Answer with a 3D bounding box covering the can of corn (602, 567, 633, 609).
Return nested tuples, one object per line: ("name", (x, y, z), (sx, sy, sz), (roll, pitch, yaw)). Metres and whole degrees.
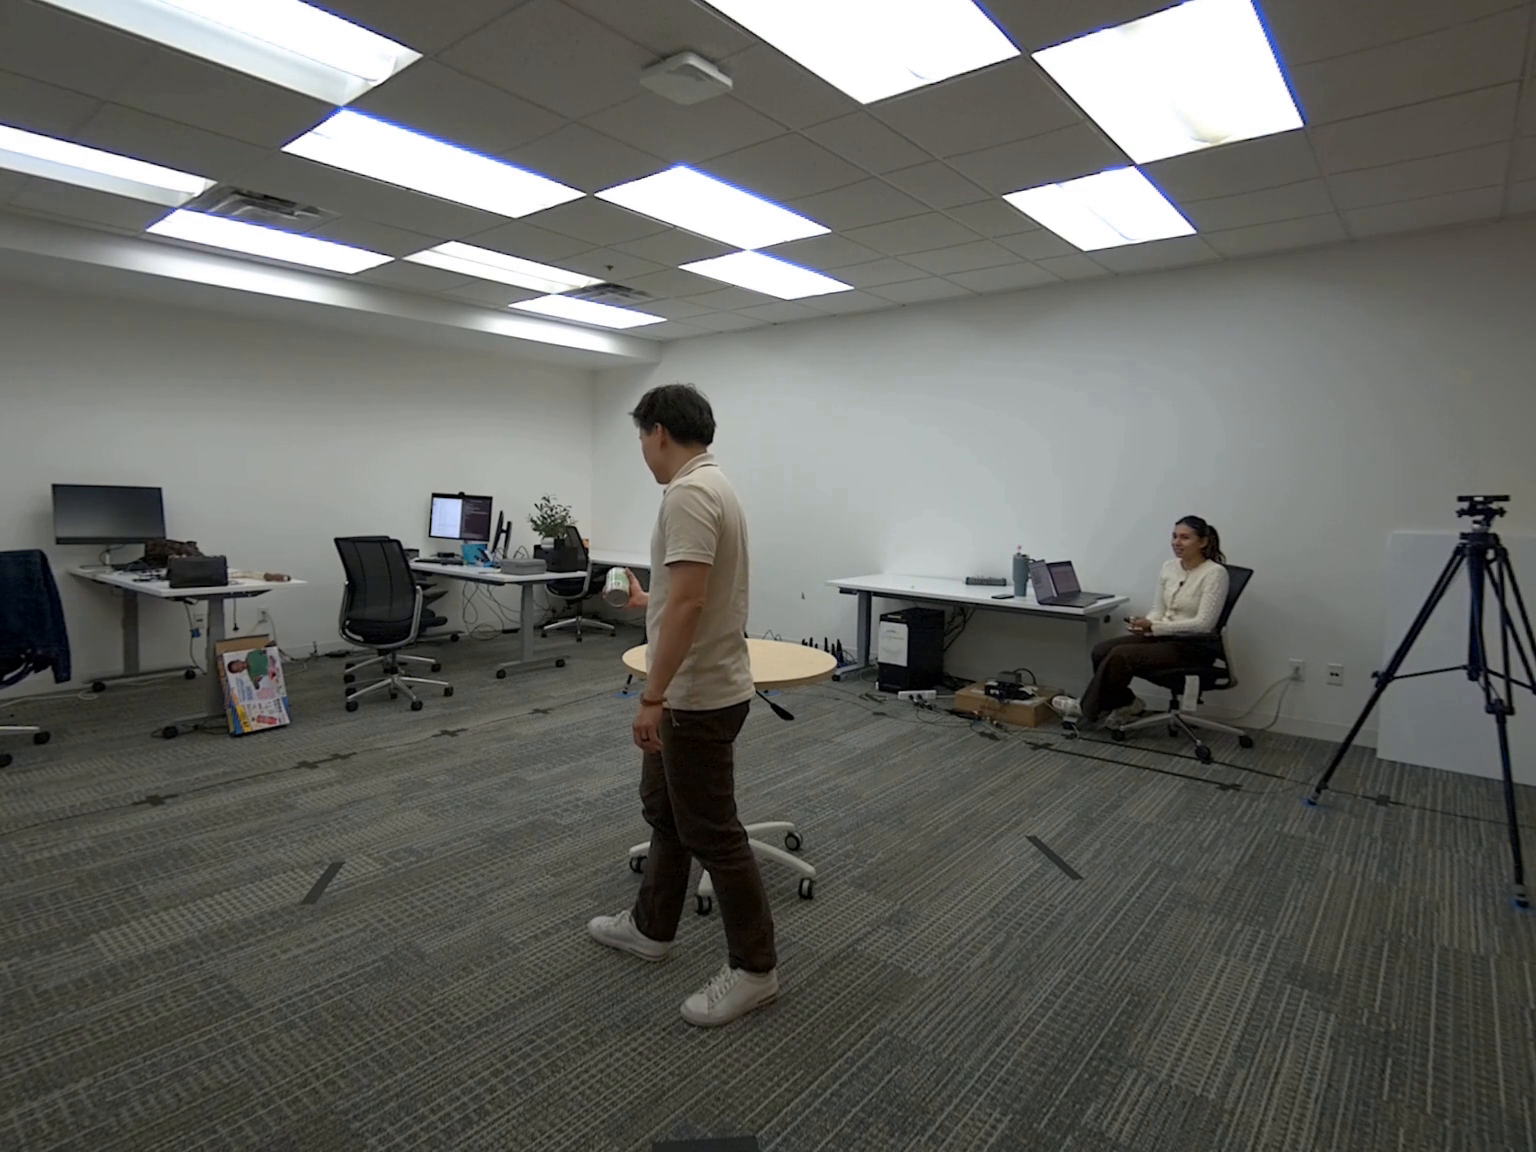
("can of corn", (-0.475, 0.023, 2.707), (0.074, 0.072, 0.114), (0, 29, -7))
